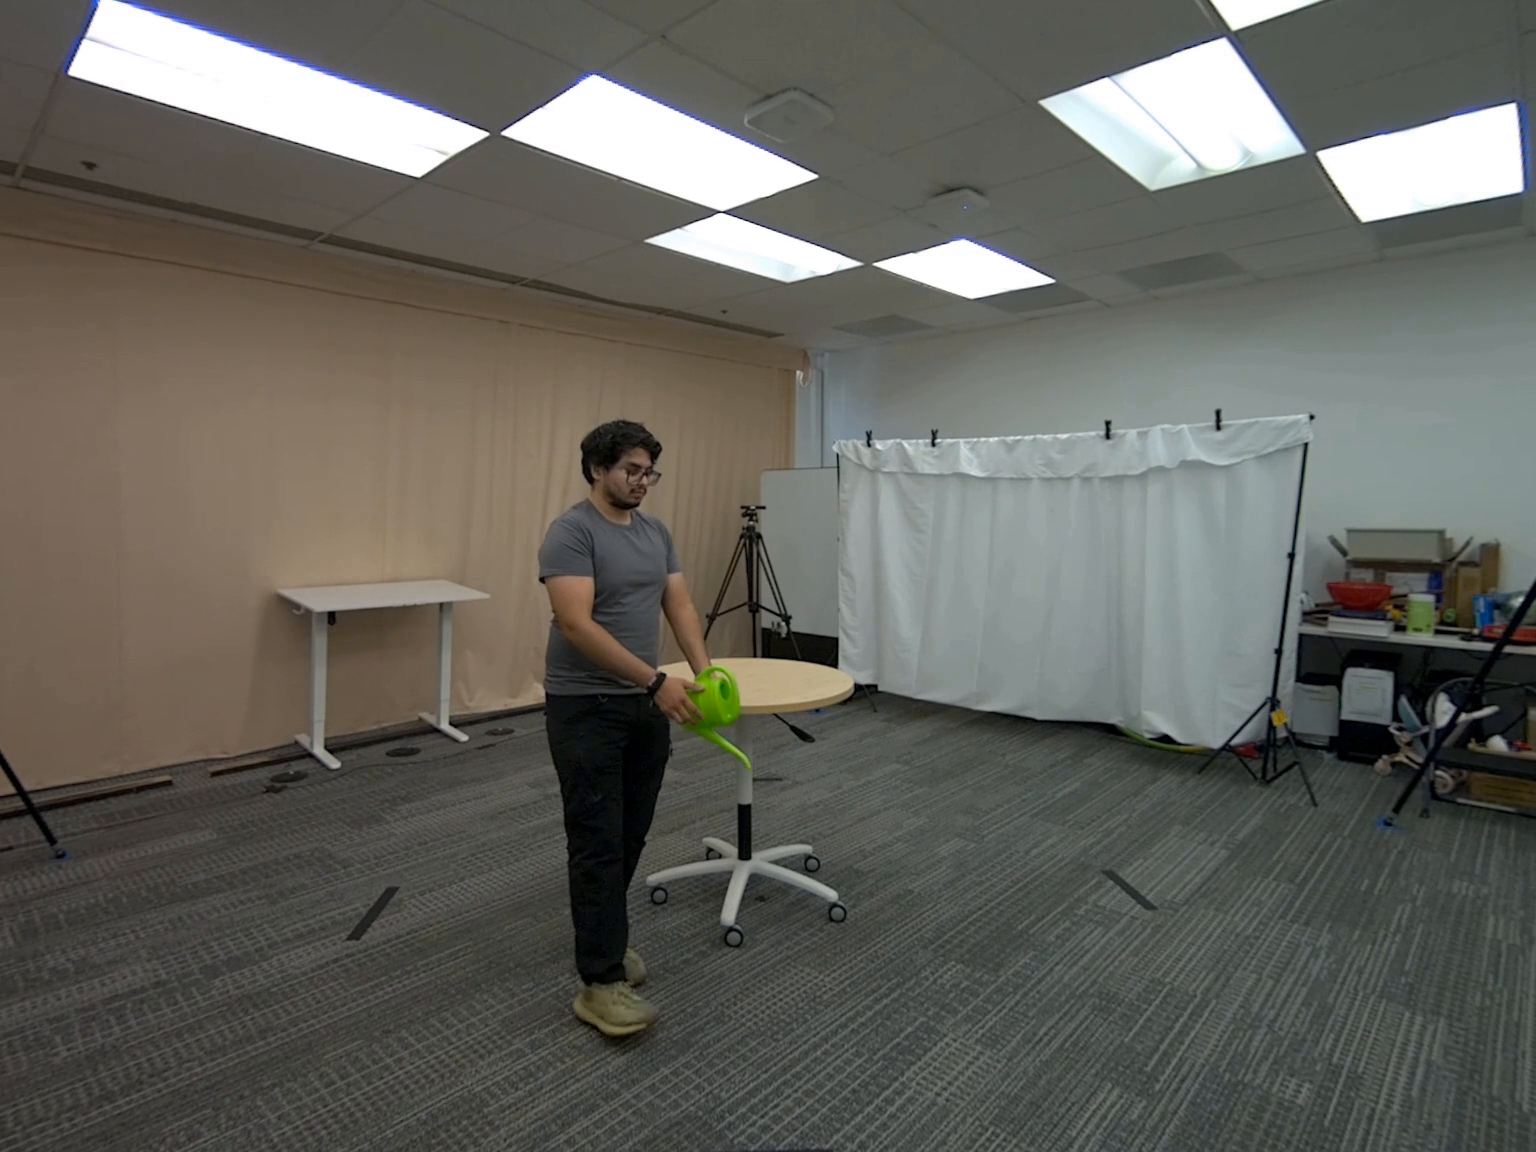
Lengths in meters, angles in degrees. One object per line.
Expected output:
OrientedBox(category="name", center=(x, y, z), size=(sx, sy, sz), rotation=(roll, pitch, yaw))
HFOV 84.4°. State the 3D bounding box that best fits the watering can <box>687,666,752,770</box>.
OrientedBox(category="watering can", center=(-0.144, 0.383, 2.230), size=(0.180, 0.282, 0.095), rotation=(-14, -21, 25))
